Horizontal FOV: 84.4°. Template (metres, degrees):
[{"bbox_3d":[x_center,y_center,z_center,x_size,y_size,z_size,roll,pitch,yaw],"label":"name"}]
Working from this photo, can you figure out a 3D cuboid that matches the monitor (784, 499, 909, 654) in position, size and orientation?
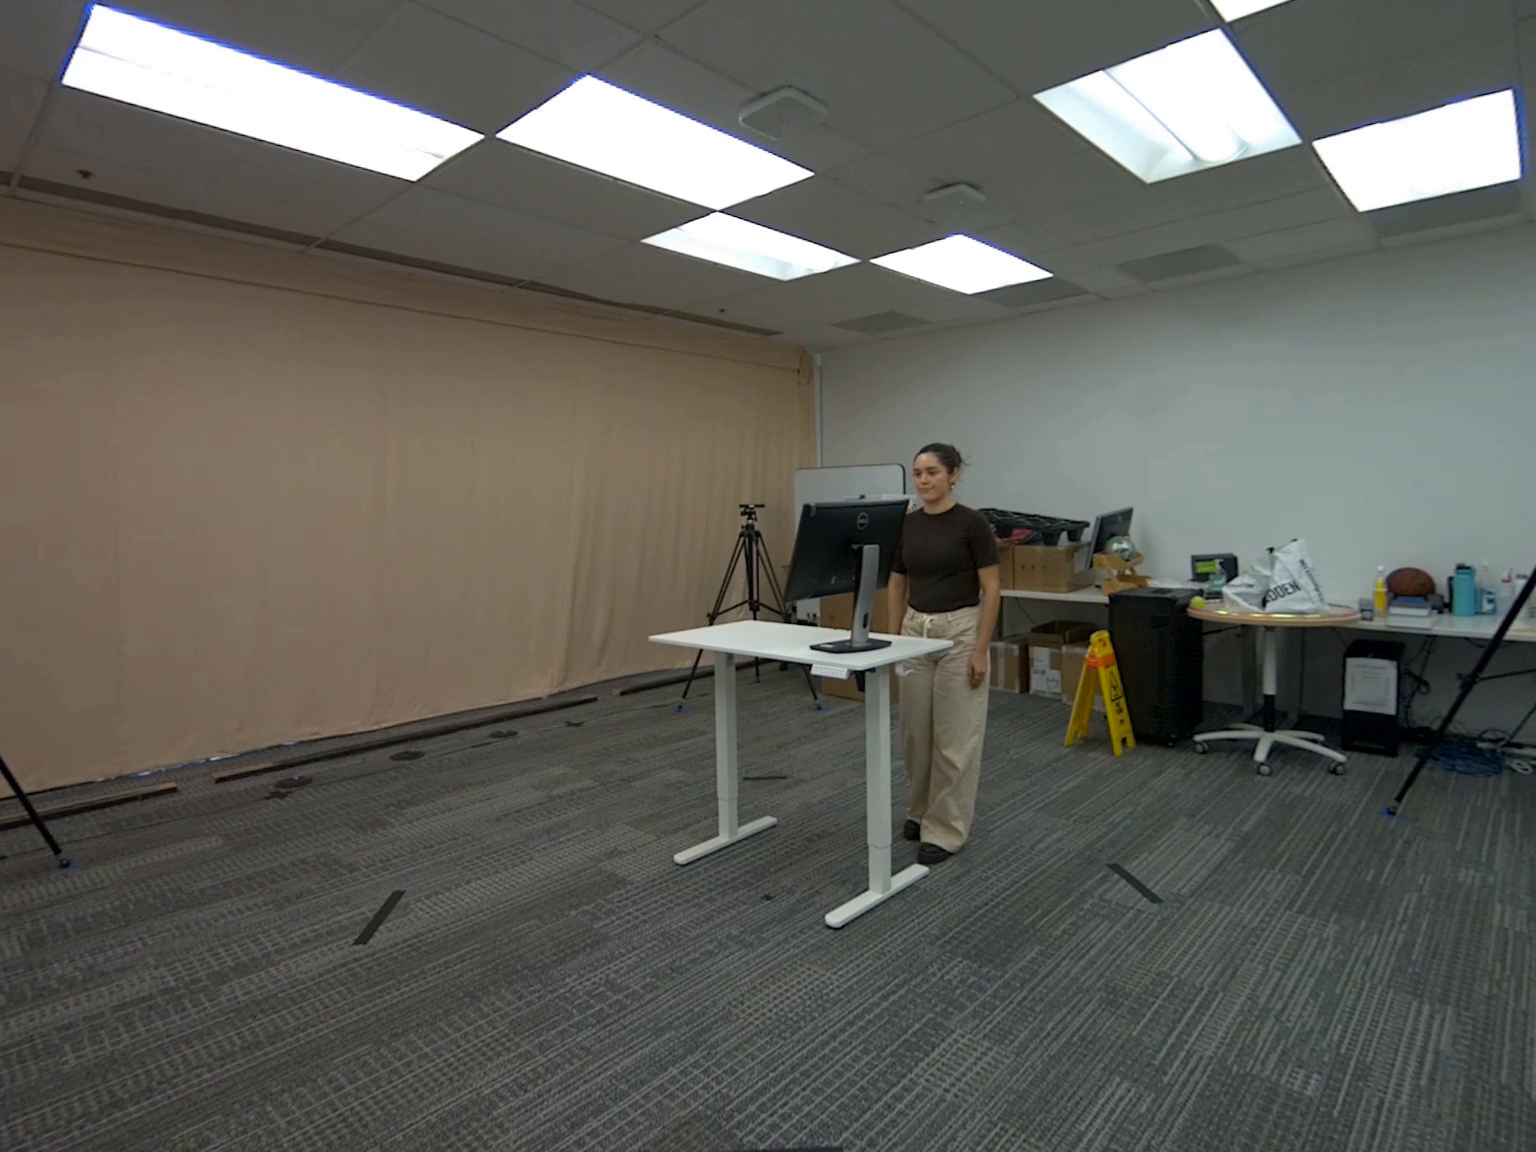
[{"bbox_3d":[0.309,-0.001,2.938,0.523,0.520,0.193,-6,9,-43],"label":"monitor"}]
